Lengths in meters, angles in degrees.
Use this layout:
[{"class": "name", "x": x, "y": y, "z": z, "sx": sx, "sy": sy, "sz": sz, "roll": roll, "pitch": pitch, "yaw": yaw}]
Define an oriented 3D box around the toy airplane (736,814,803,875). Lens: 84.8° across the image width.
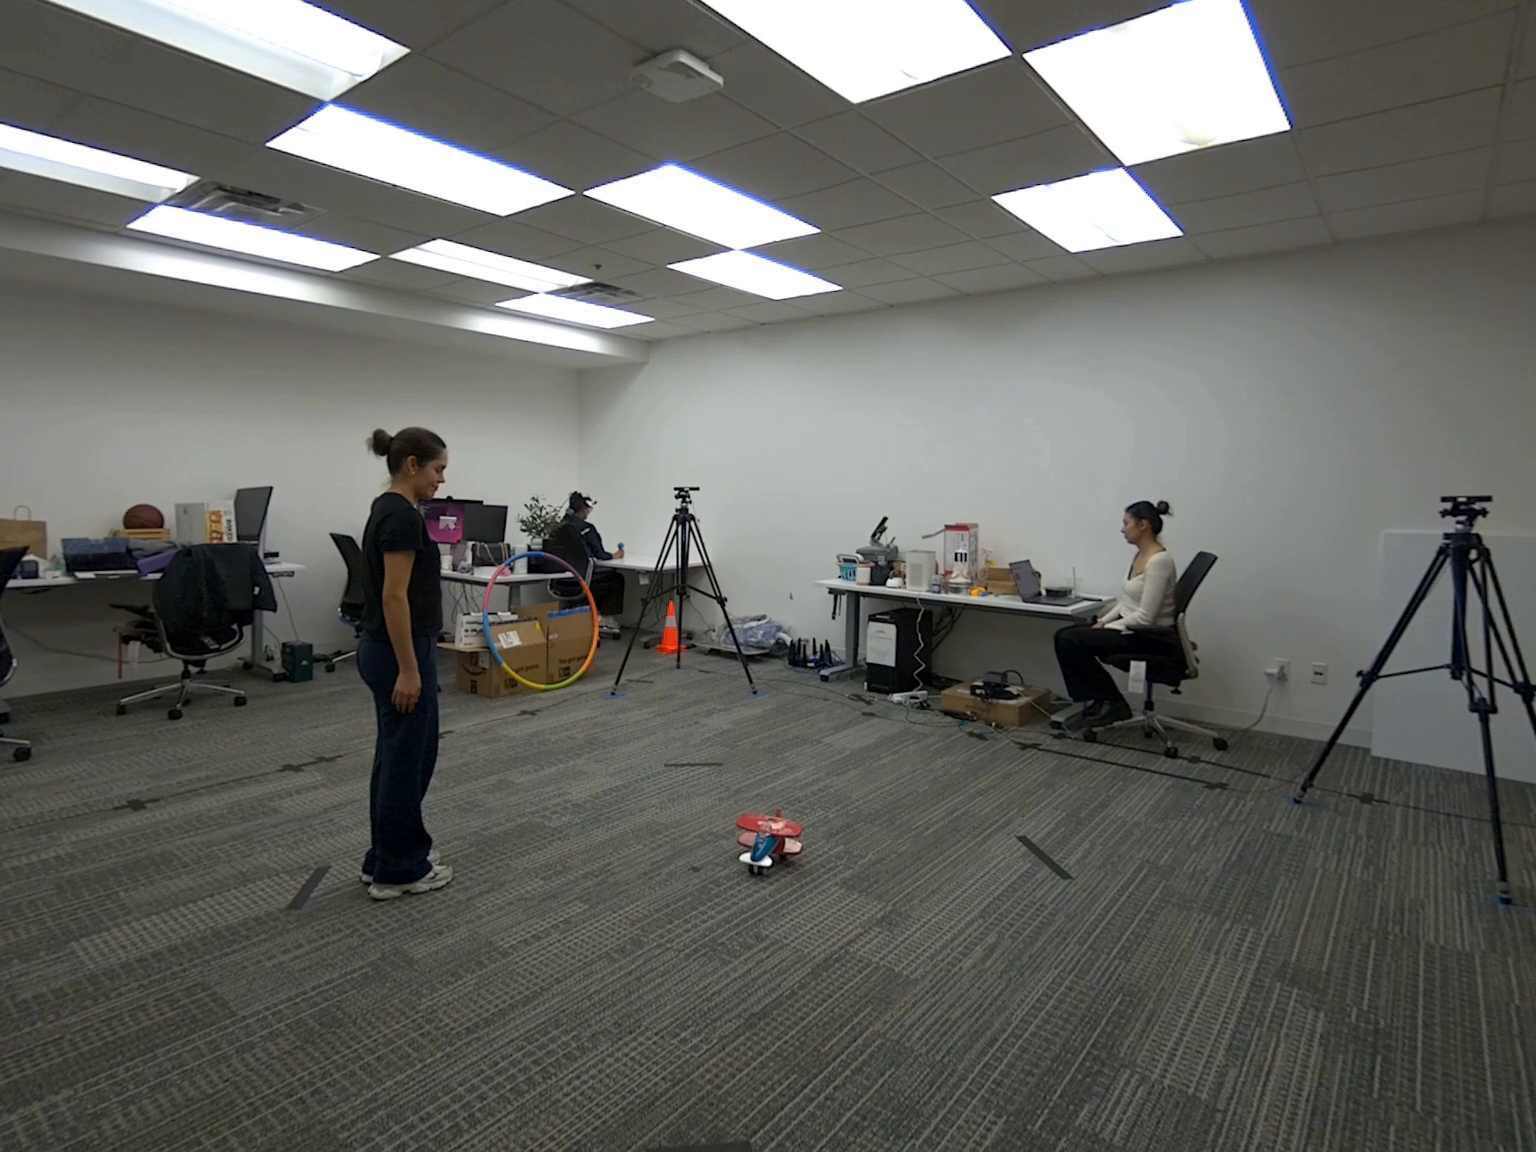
[{"class": "toy airplane", "x": 0.023, "y": 0.995, "z": 3.153, "sx": 0.250, "sy": 0.156, "sz": 0.261, "roll": 1, "pitch": 3, "yaw": -6}]
